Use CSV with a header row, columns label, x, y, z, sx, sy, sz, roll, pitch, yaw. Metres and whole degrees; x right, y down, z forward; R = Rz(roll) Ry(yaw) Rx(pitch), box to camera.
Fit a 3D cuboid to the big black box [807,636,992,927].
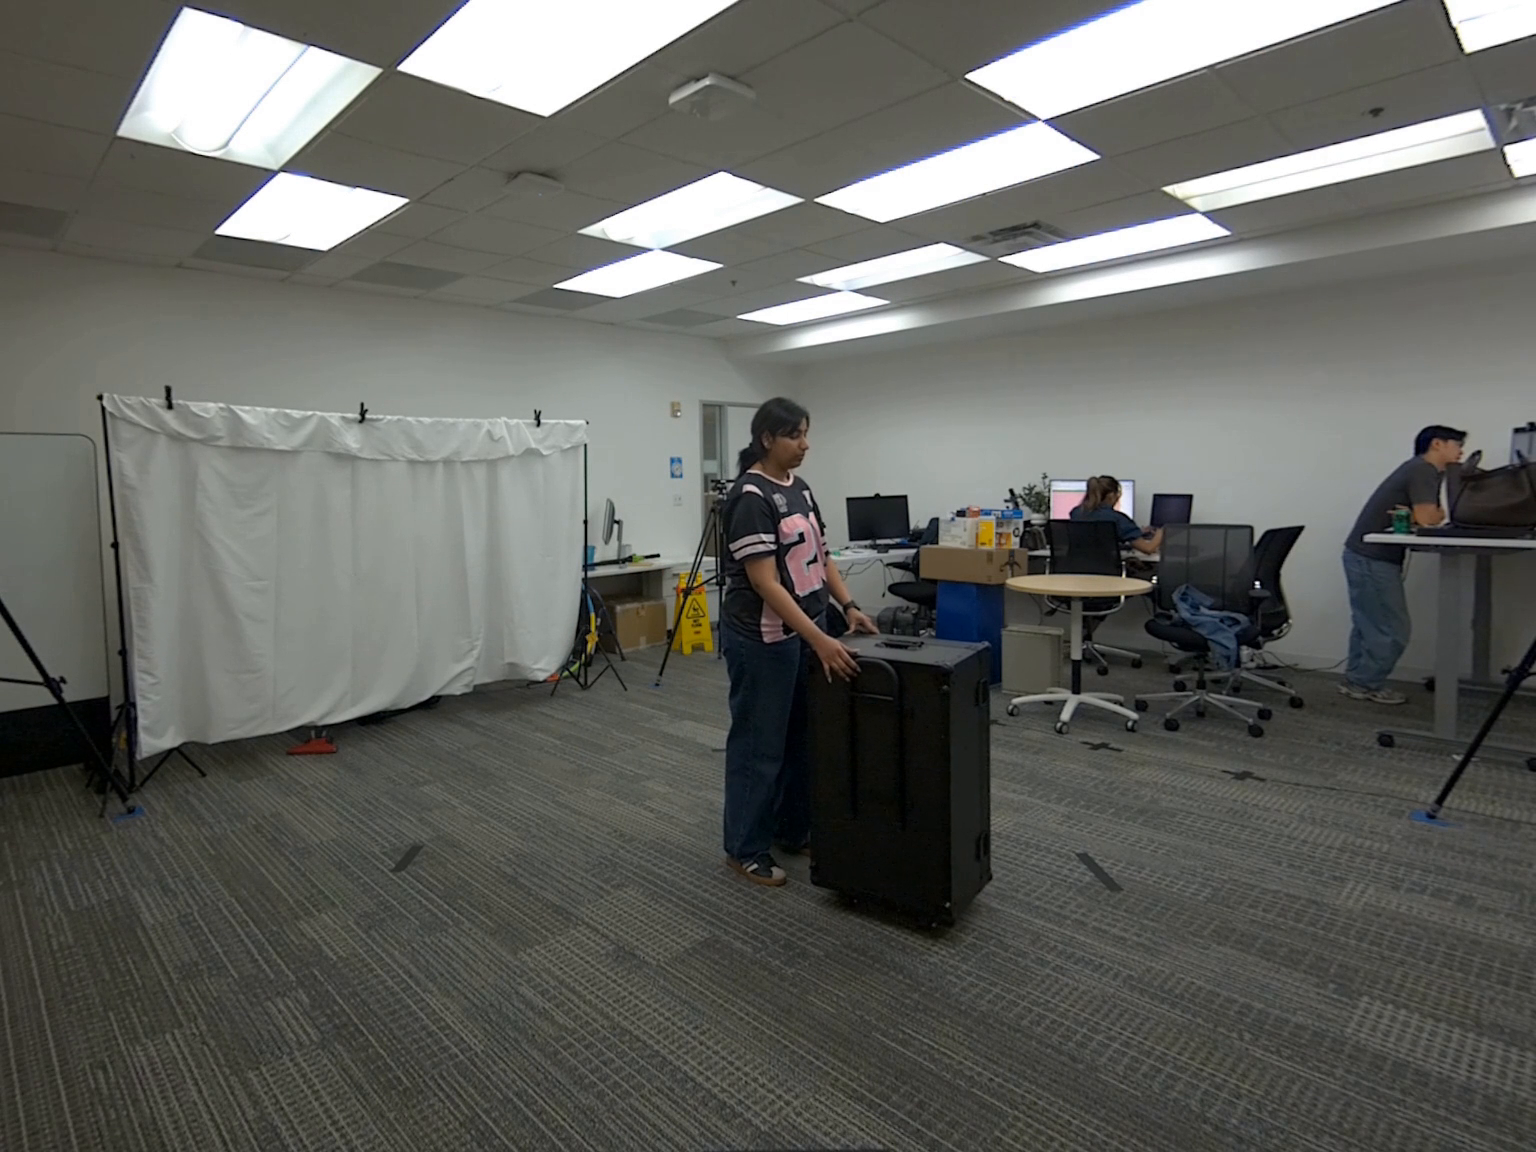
label,x,y,z,sx,sy,sz,roll,pitch,yaw
big black box,0.437,0.658,2.761,0.538,0.865,0.376,1,5,33
